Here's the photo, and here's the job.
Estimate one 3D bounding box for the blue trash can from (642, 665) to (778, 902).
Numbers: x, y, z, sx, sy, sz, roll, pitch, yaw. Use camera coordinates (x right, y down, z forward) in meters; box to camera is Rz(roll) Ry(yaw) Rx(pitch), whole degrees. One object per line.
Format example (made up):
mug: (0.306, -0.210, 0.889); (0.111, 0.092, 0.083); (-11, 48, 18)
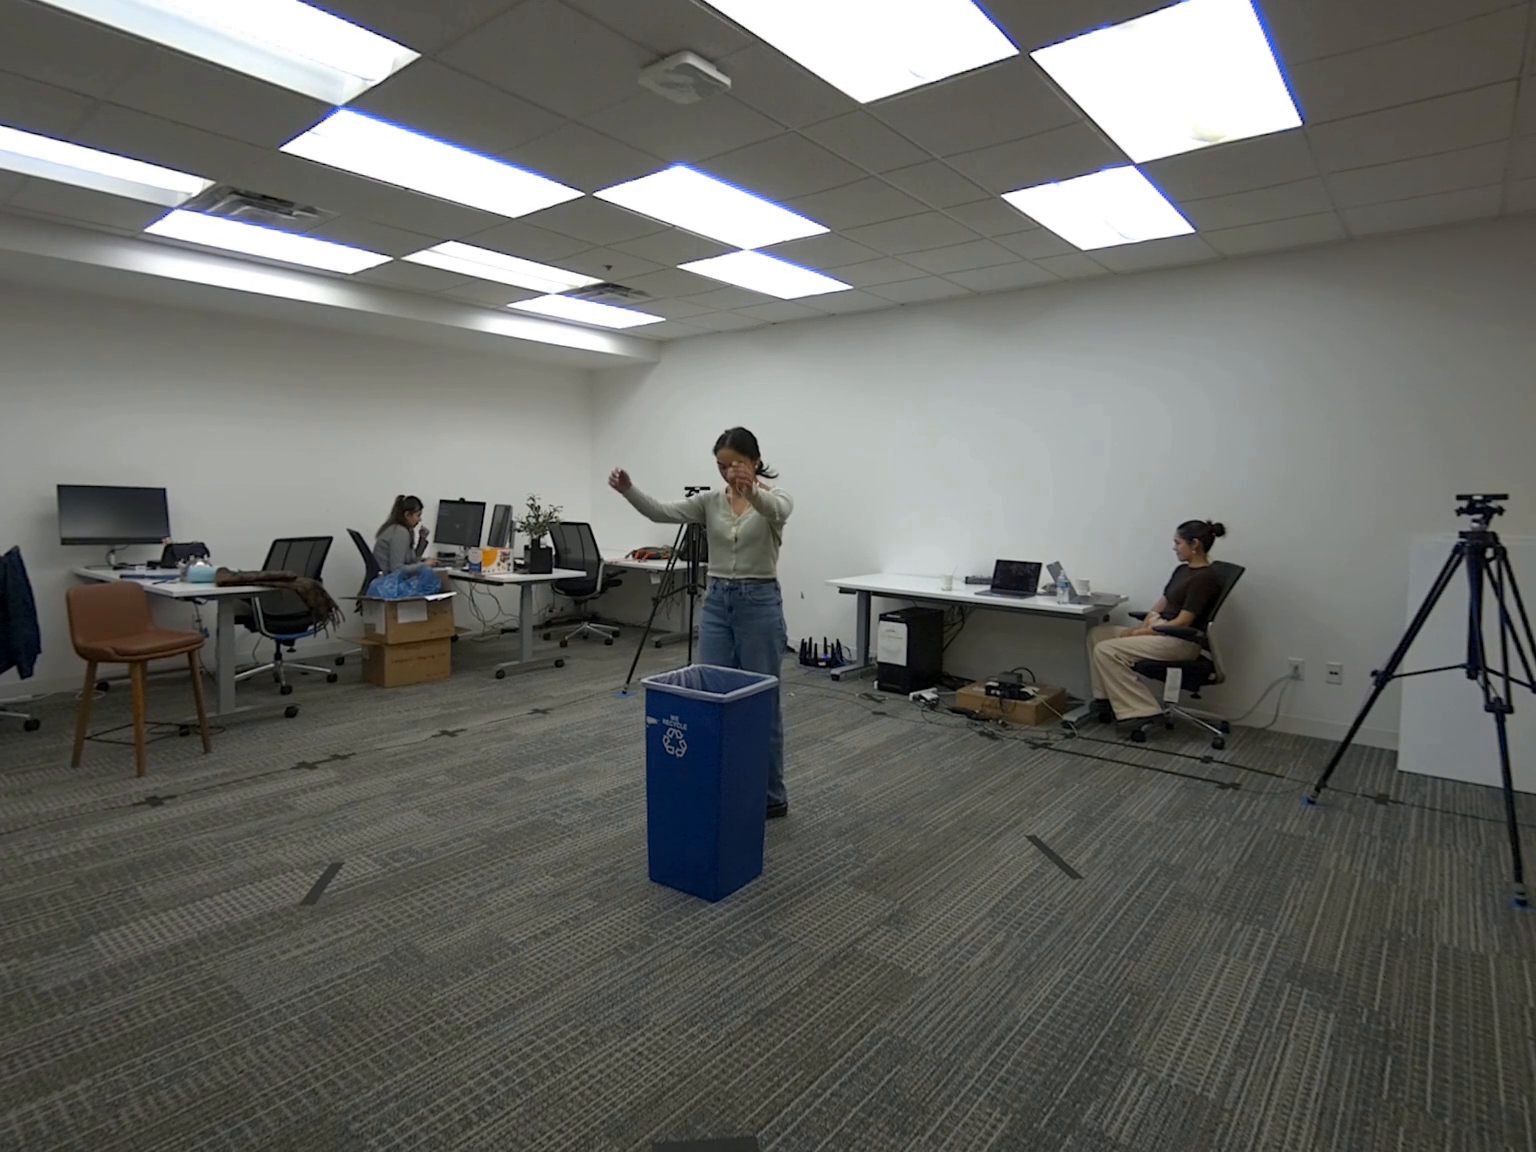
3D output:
blue trash can: (-0.215, 0.712, 3.027); (0.386, 0.711, 0.367); (3, 4, 34)
